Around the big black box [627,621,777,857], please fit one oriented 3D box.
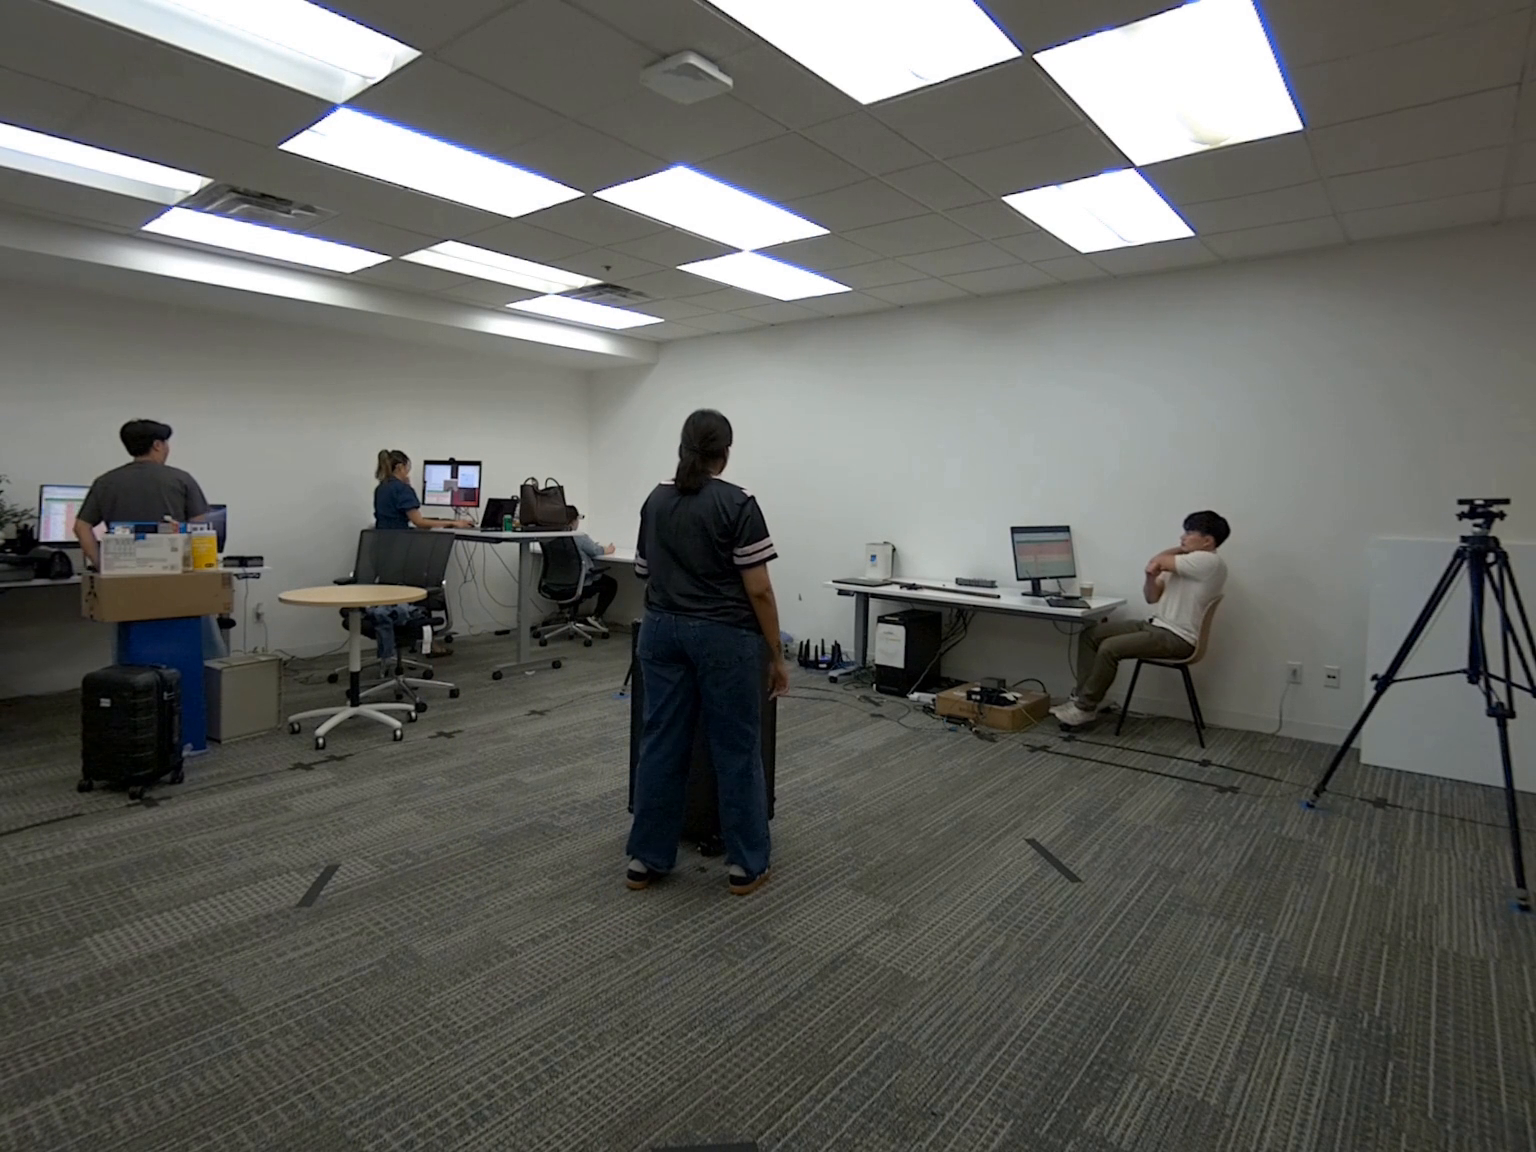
[{"bbox_3d":[-0.280,0.612,3.439,0.541,0.866,0.373,4,3,38],"label":"big black box"}]
